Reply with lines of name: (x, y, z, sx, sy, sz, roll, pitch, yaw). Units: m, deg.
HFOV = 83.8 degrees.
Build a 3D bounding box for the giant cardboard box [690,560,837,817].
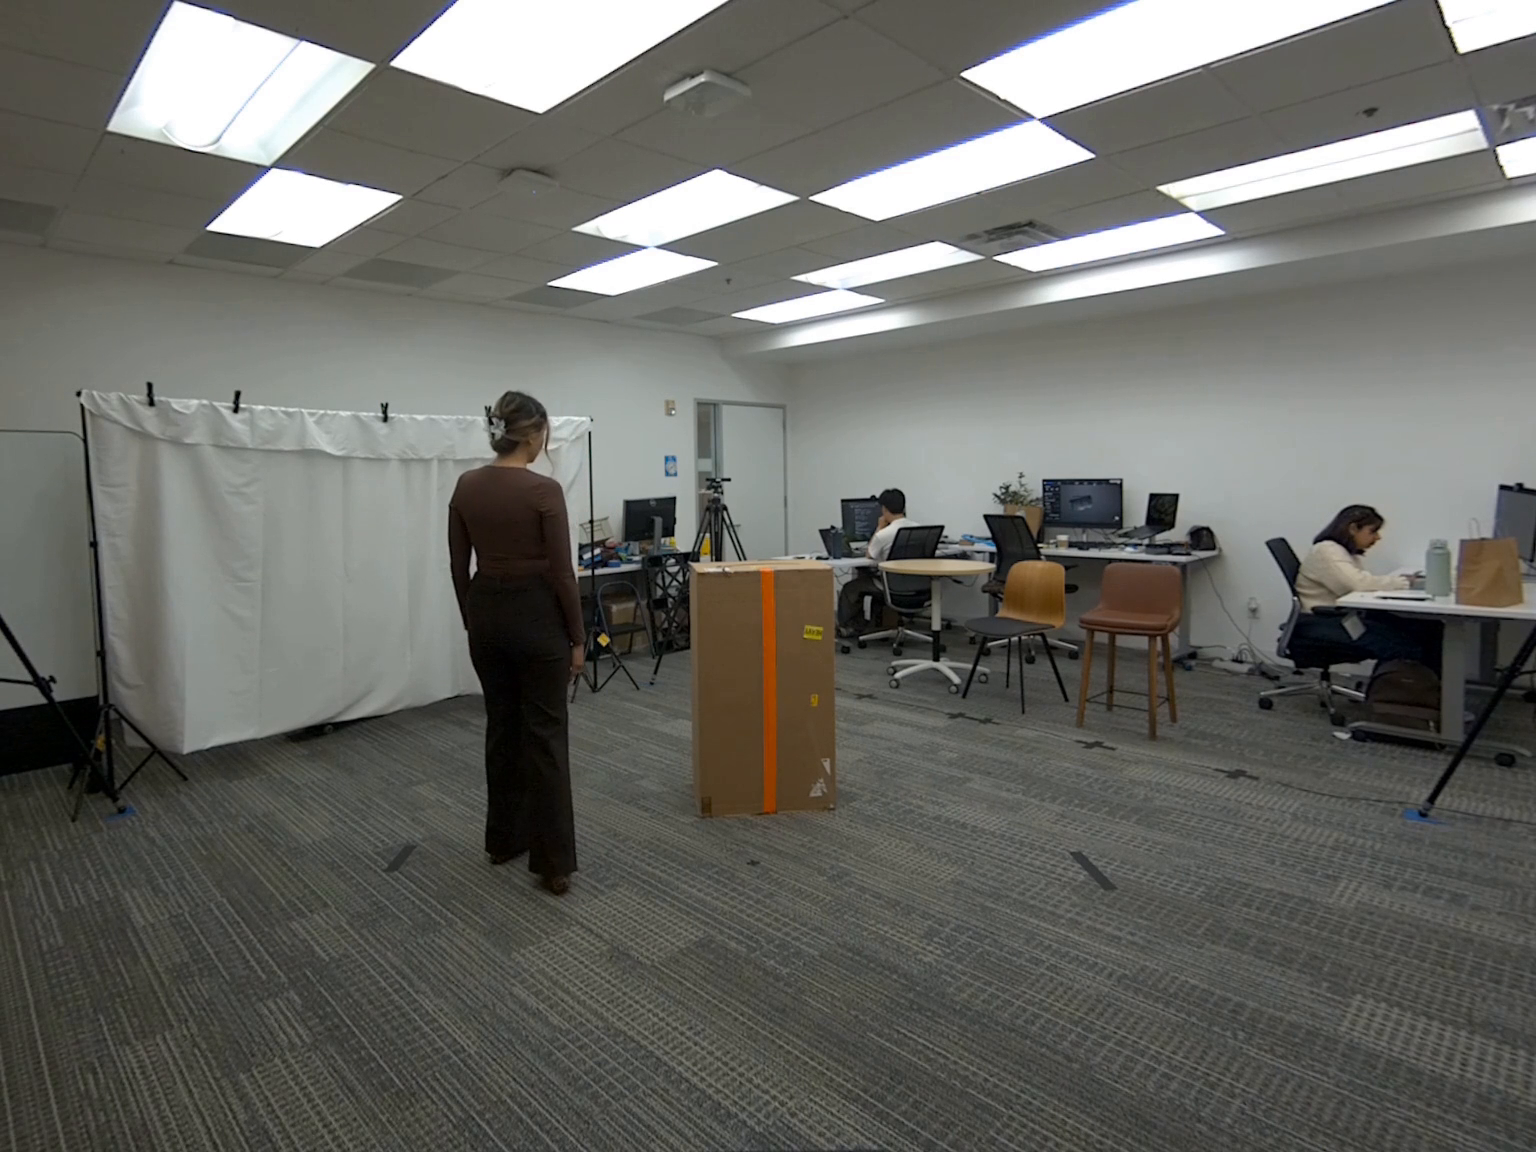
giant cardboard box: (-0.032, 0.460, 3.742, 0.579, 1.024, 0.452, -2, 3, -9)
